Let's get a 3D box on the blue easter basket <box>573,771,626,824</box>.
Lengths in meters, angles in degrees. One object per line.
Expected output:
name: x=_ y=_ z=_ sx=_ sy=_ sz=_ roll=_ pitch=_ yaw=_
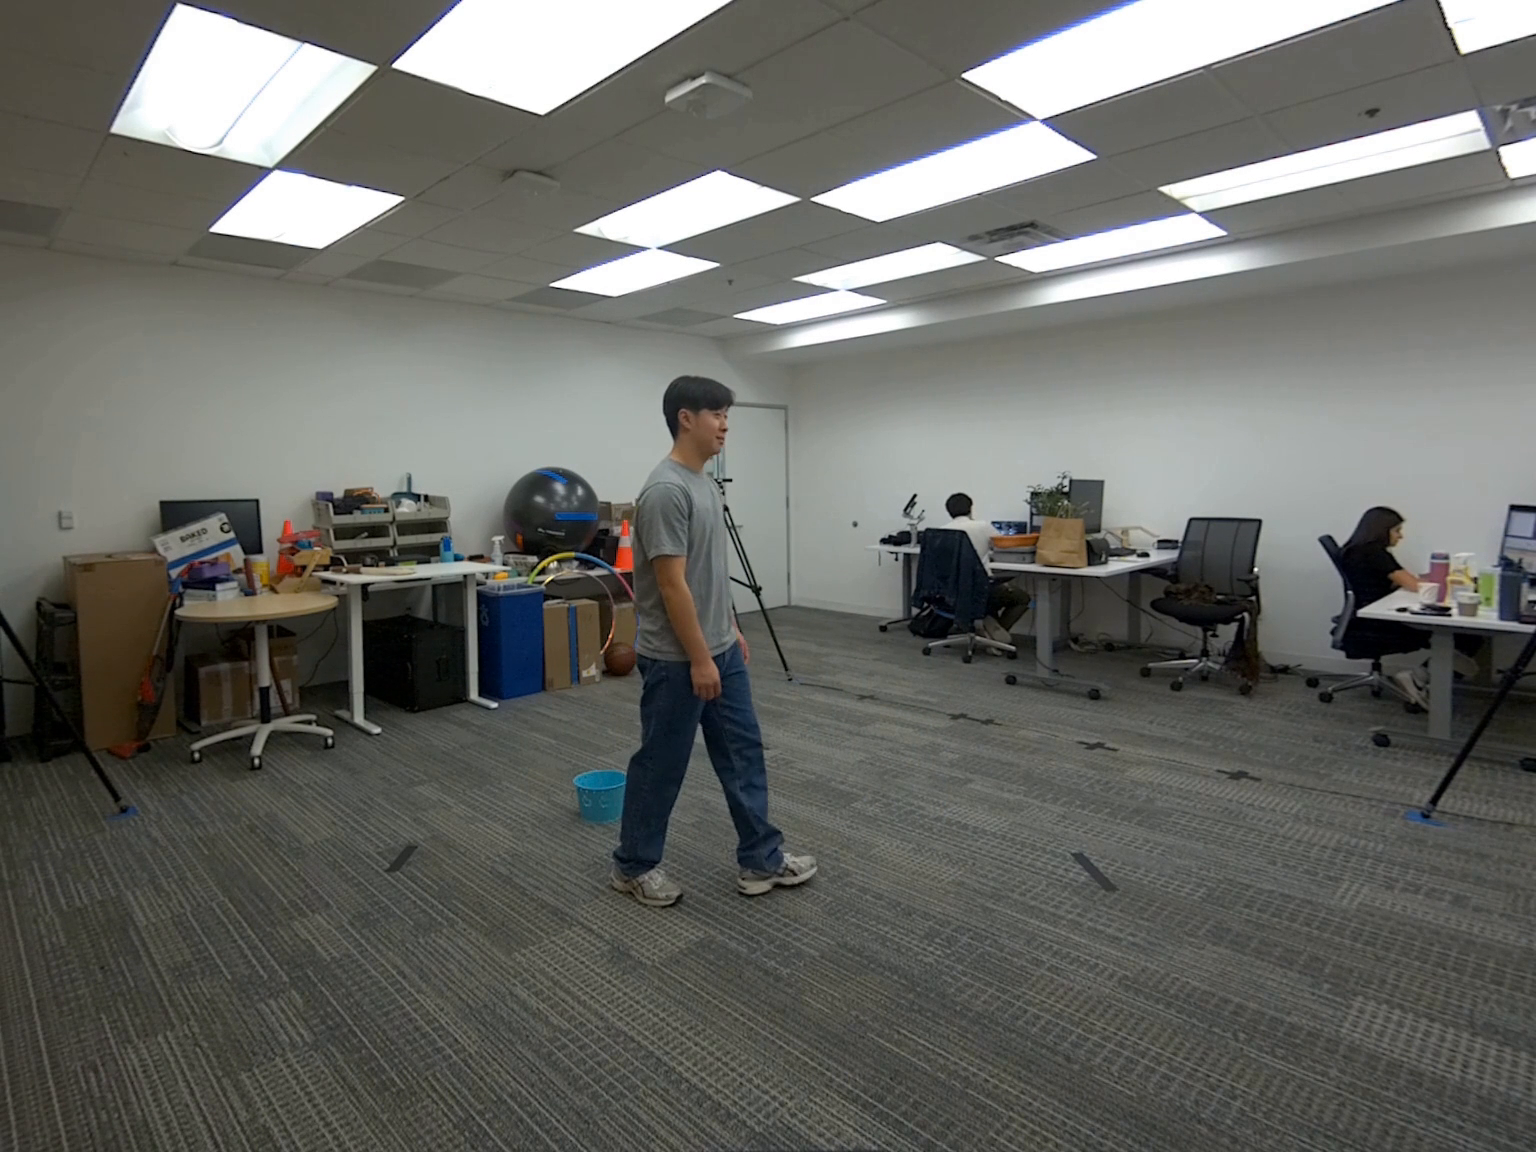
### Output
blue easter basket: x=-0.695 y=0.922 z=3.592 sx=0.243 sy=0.155 sz=0.245 roll=0 pitch=6 yaw=-2
